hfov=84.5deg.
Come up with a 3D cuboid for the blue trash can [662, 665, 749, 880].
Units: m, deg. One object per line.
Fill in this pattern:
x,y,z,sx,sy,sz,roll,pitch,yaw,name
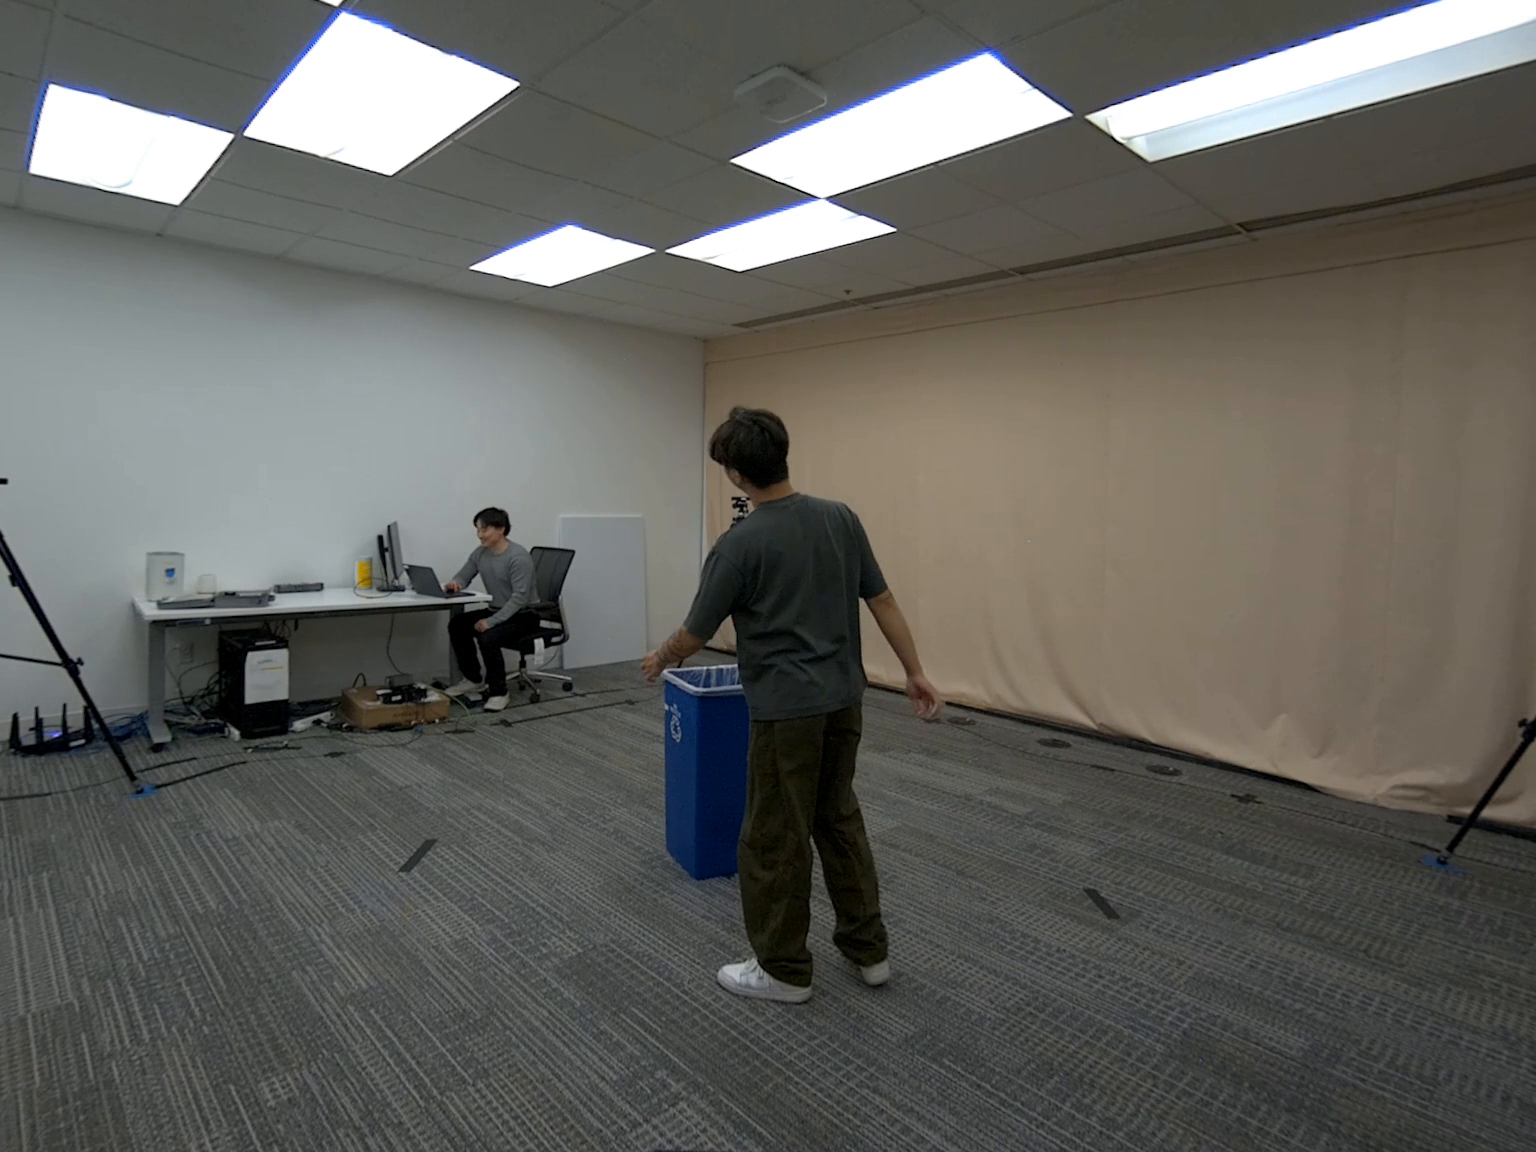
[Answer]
-0.191,0.735,3.226,0.371,0.712,0.382,-1,4,-28,blue trash can
